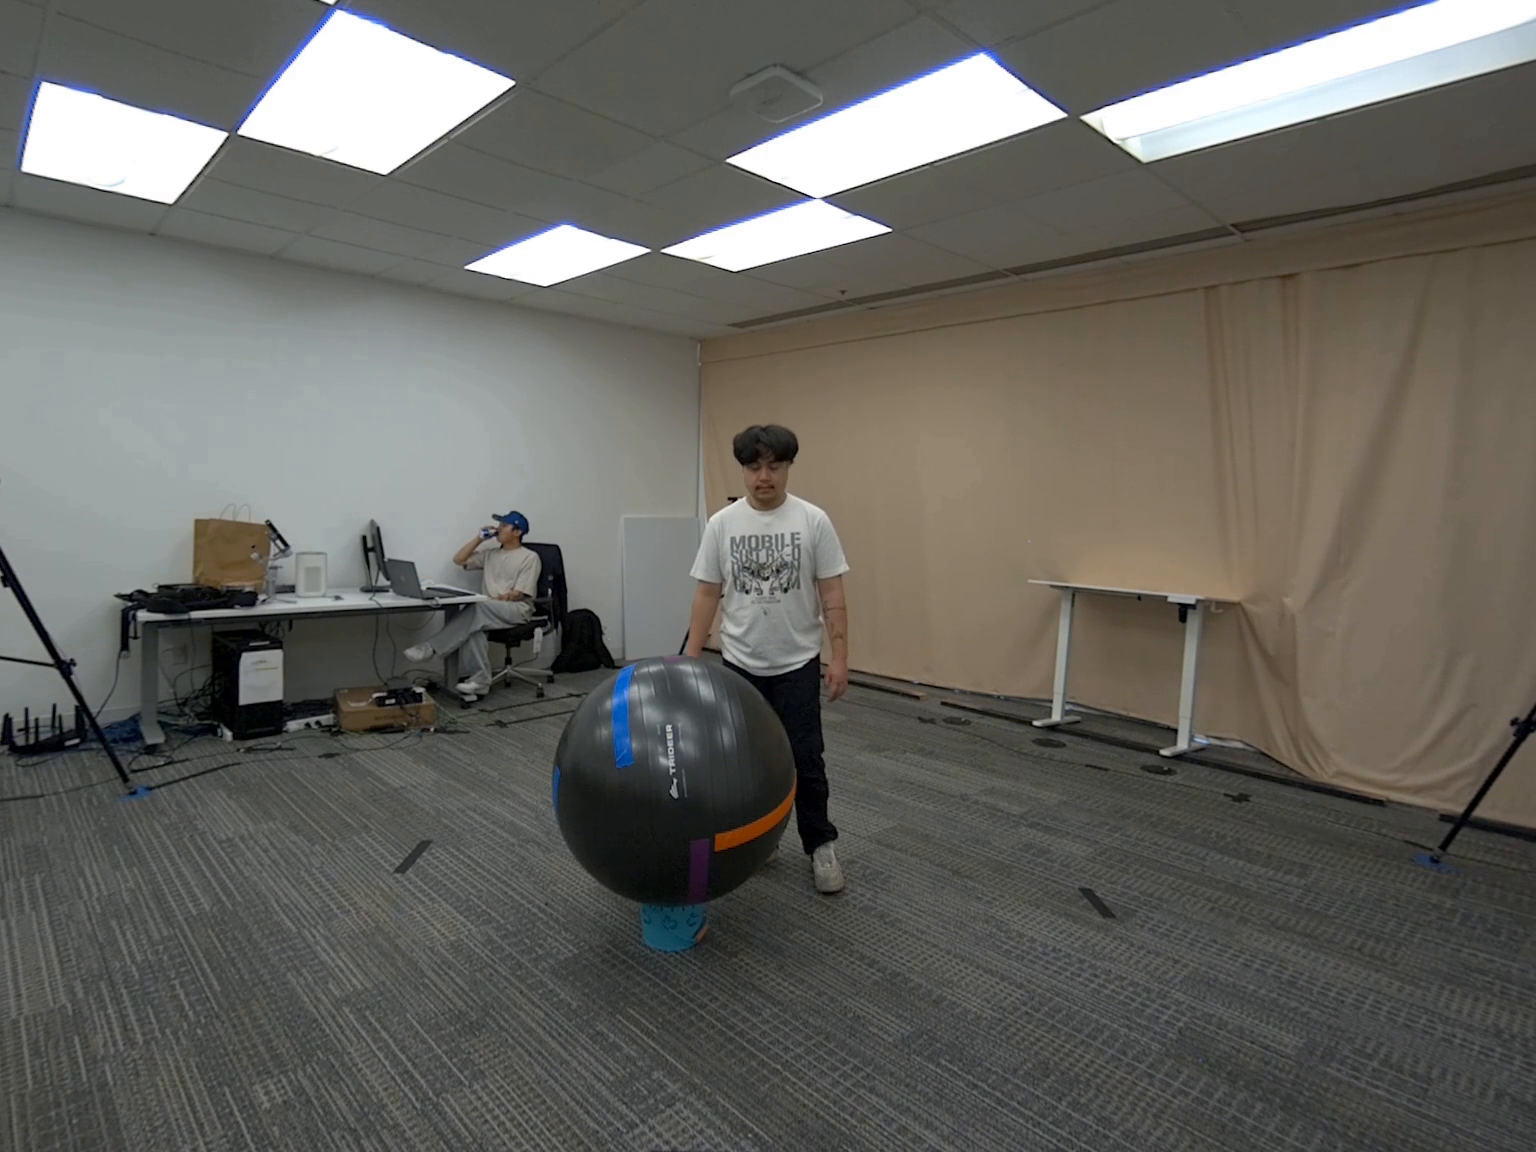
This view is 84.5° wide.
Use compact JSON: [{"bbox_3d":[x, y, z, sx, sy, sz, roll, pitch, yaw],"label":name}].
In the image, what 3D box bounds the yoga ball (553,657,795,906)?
[{"bbox_3d":[-0.297,0.637,2.647,0.757,0.756,0.760,1,4,-1],"label":"yoga ball"}]
